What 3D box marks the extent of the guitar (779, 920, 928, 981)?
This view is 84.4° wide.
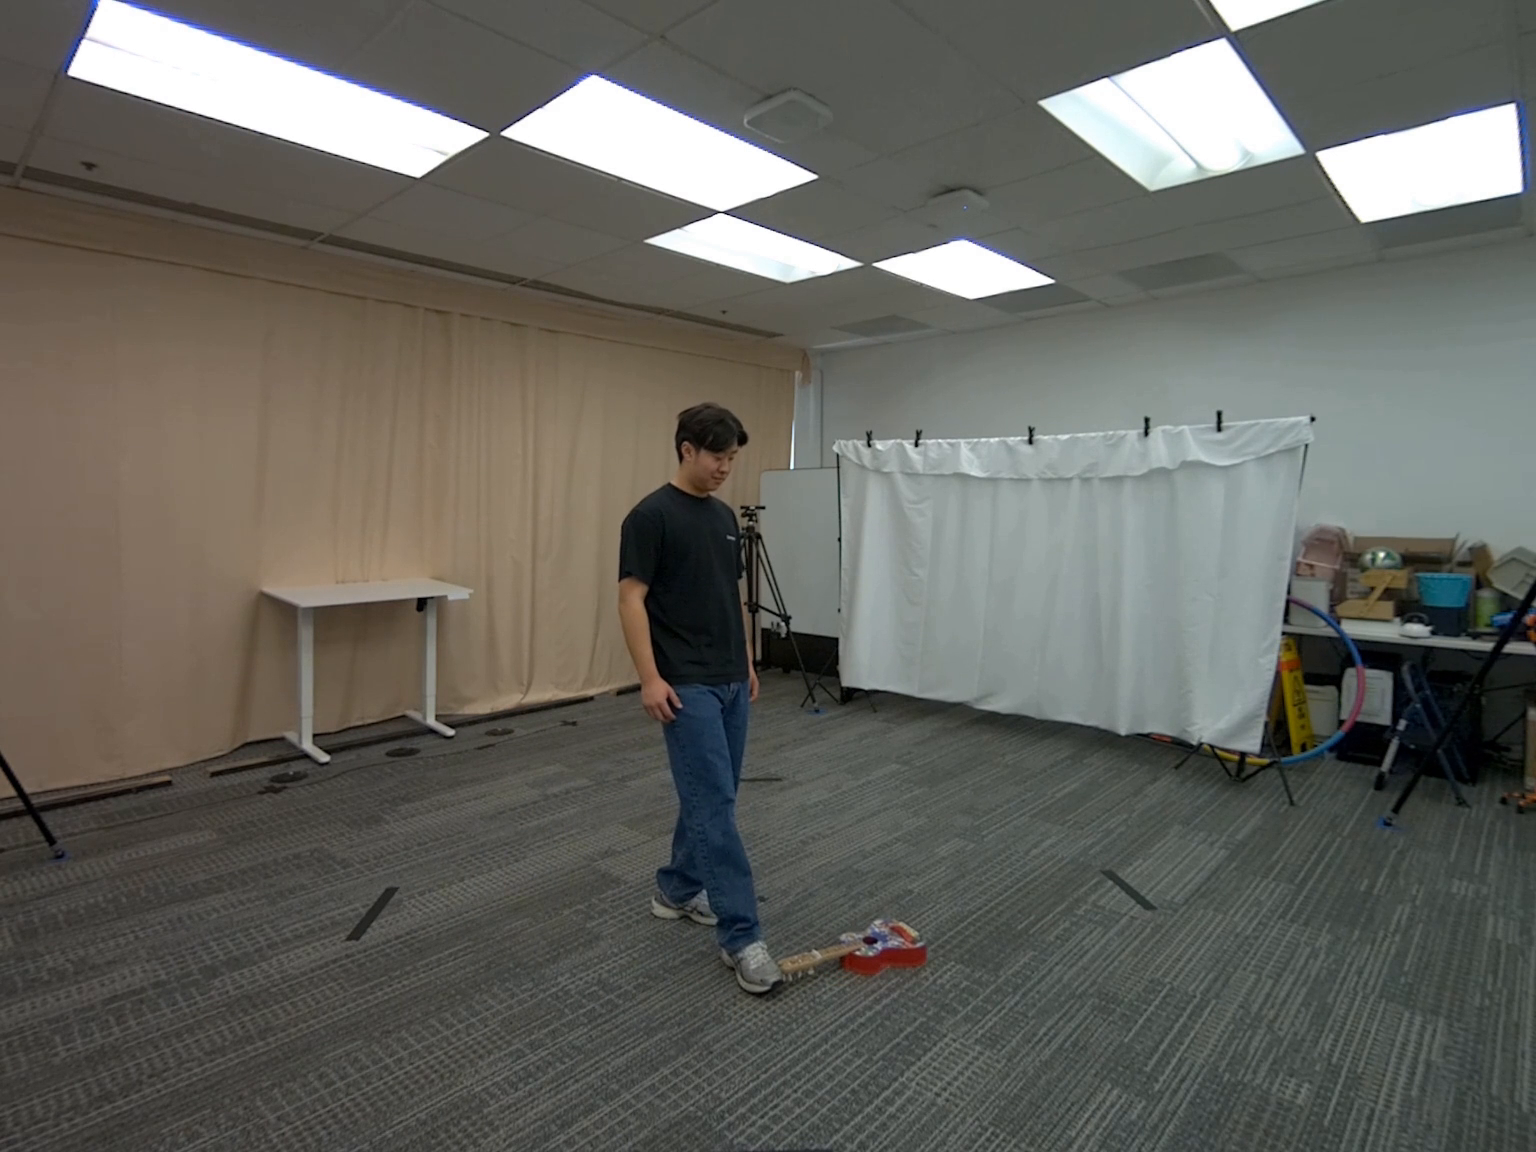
[{"bbox_3d":[0.238,1.143,2.569,0.488,0.070,0.197,-1,6,-20],"label":"guitar"}]
